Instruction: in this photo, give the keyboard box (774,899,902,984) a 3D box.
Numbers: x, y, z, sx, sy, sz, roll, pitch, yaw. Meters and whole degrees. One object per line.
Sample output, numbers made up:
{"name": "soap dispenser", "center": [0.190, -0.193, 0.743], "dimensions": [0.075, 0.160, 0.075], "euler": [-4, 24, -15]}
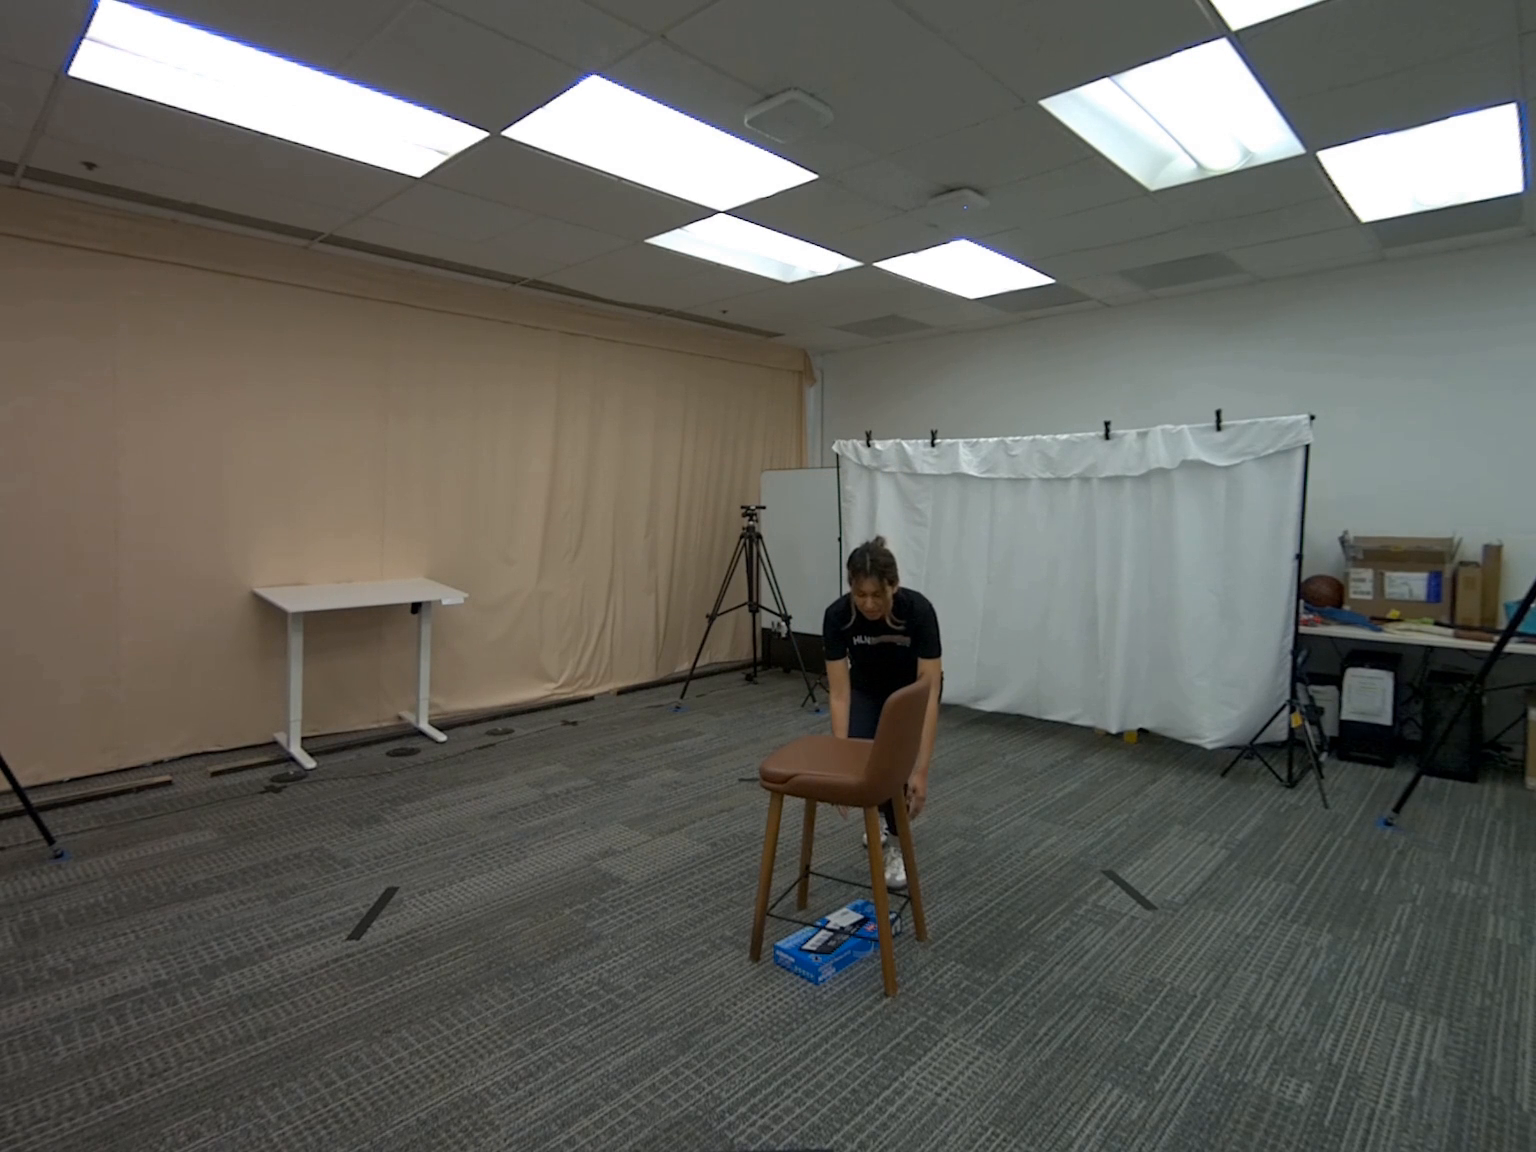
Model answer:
{"name": "keyboard box", "center": [0.232, 1.145, 2.652], "dimensions": [0.182, 0.059, 0.423], "euler": [4, 6, 44]}
